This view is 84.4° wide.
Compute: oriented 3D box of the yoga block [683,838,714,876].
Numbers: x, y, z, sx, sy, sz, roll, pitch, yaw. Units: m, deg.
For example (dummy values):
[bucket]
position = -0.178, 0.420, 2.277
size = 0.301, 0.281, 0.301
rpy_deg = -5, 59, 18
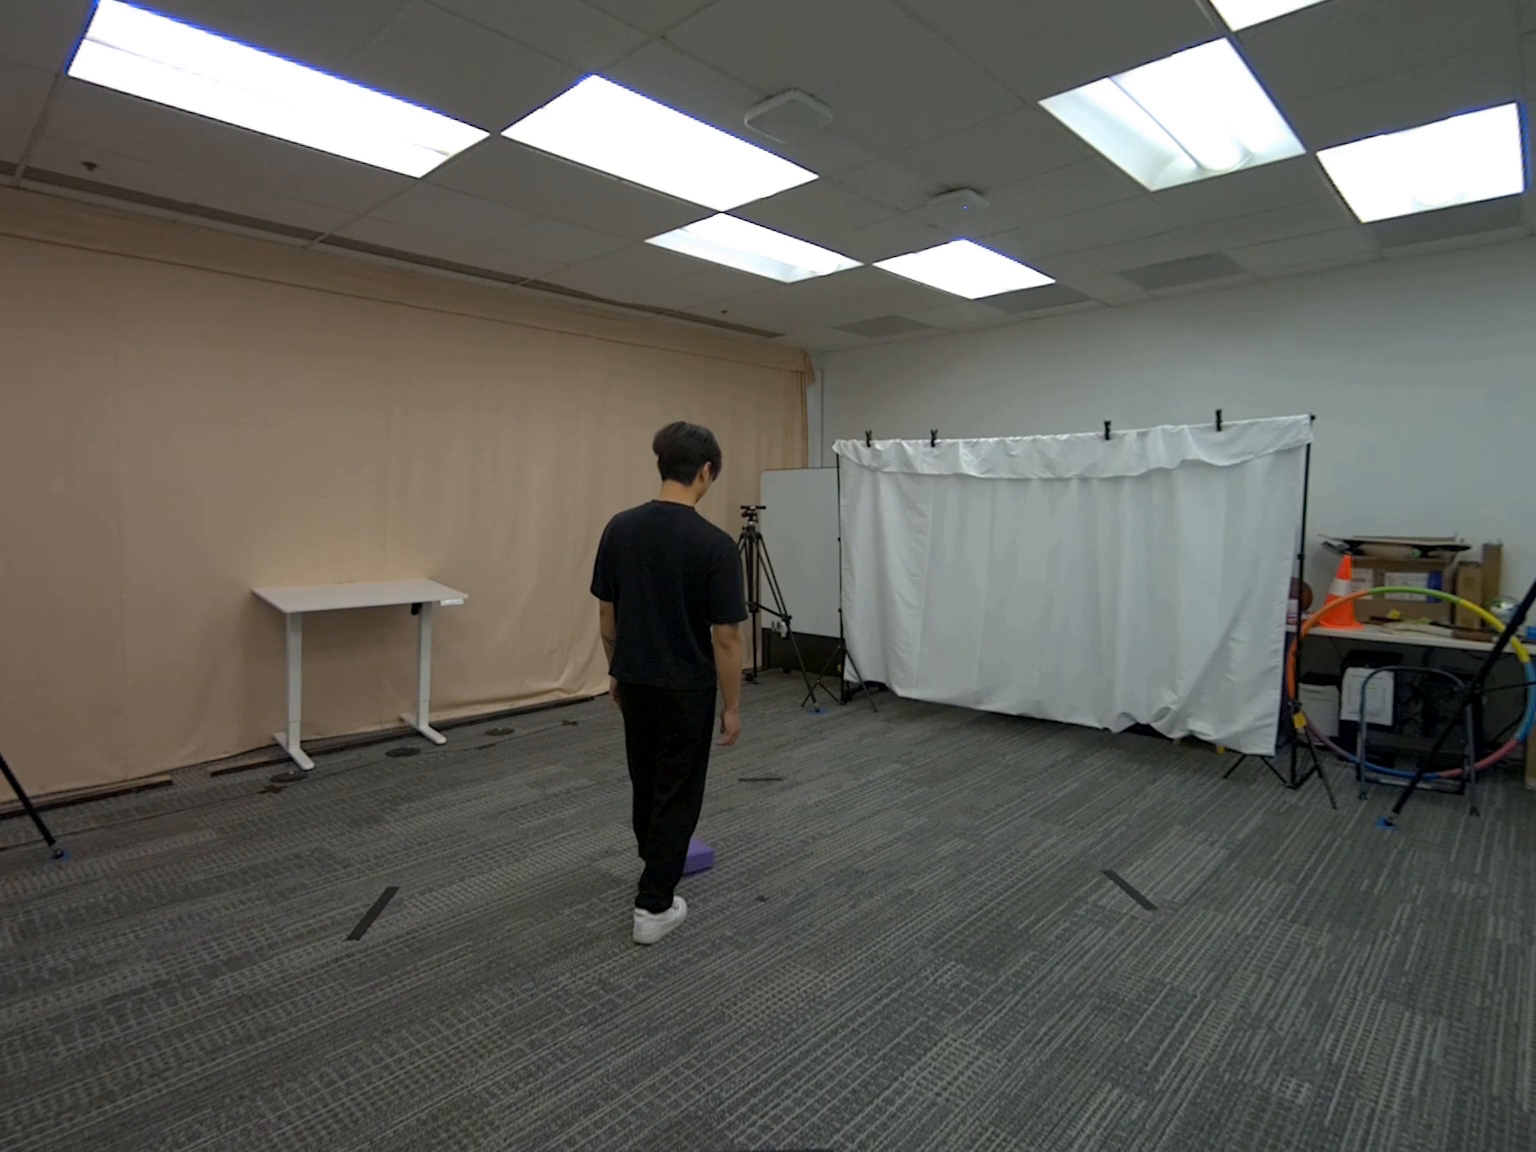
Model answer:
[yoga block]
position = -0.337, 1.077, 3.282
size = 0.144, 0.076, 0.237
rpy_deg = 1, 2, -37
